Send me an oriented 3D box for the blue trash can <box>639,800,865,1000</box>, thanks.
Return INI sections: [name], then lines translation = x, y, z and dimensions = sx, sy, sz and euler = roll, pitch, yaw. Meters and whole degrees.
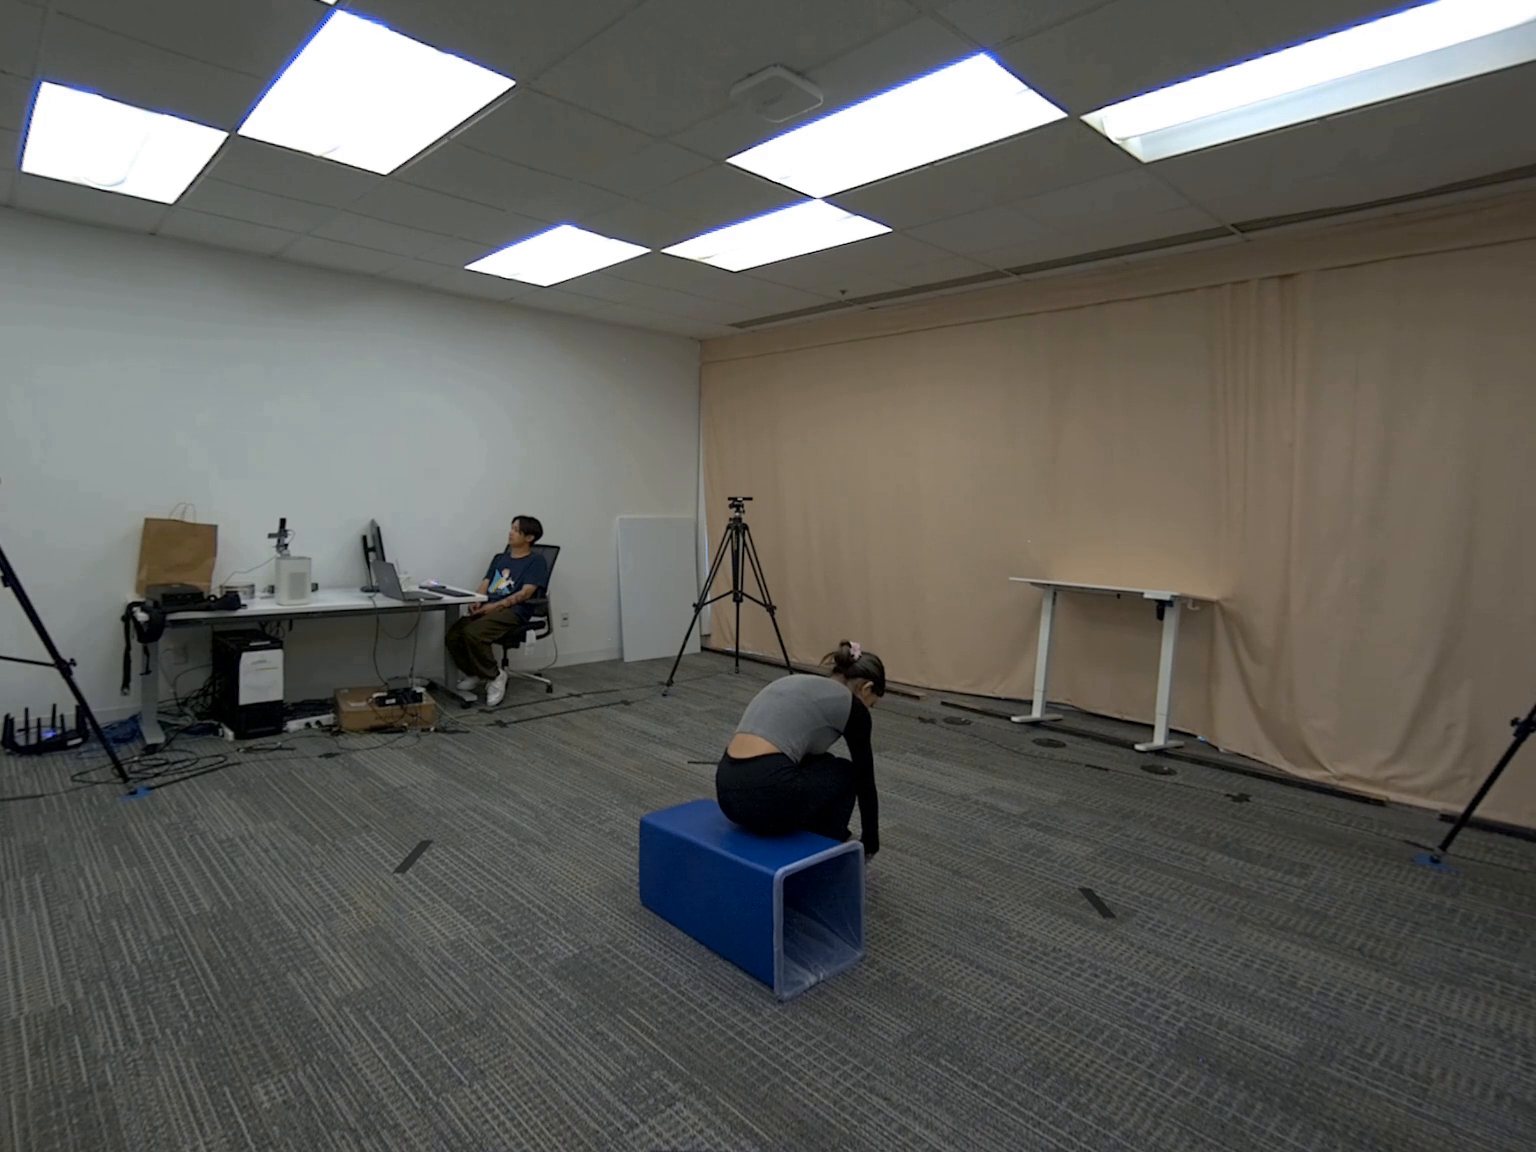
[blue trash can]
translation = -0.093, 0.971, 2.695
dimensions = 0.369, 0.373, 0.731
euler = -3, 5, -44
